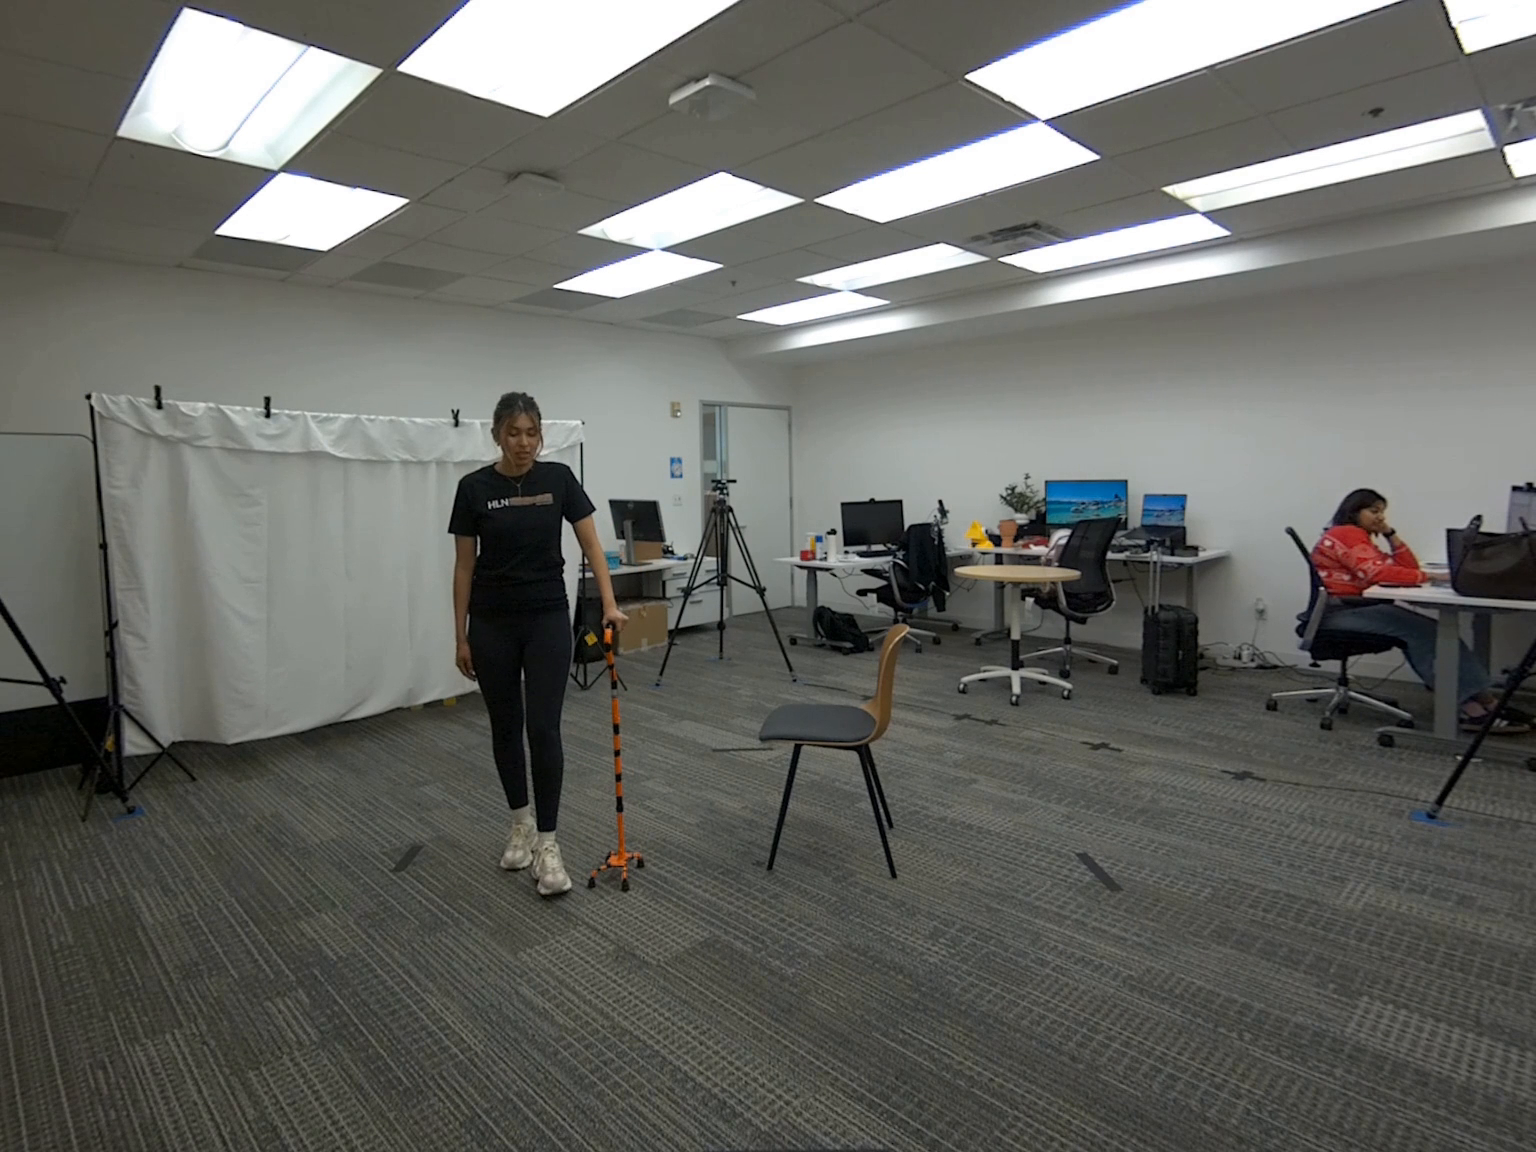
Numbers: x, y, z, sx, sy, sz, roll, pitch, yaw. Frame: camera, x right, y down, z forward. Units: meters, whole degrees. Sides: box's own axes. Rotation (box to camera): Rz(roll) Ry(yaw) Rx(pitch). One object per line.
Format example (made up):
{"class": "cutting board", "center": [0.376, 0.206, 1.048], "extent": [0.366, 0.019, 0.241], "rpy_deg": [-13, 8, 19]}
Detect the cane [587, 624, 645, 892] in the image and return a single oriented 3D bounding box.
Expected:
{"class": "cane", "center": [-0.542, 0.613, 2.988], "extent": [0.152, 0.904, 0.206], "rpy_deg": [0, 5, 3]}
